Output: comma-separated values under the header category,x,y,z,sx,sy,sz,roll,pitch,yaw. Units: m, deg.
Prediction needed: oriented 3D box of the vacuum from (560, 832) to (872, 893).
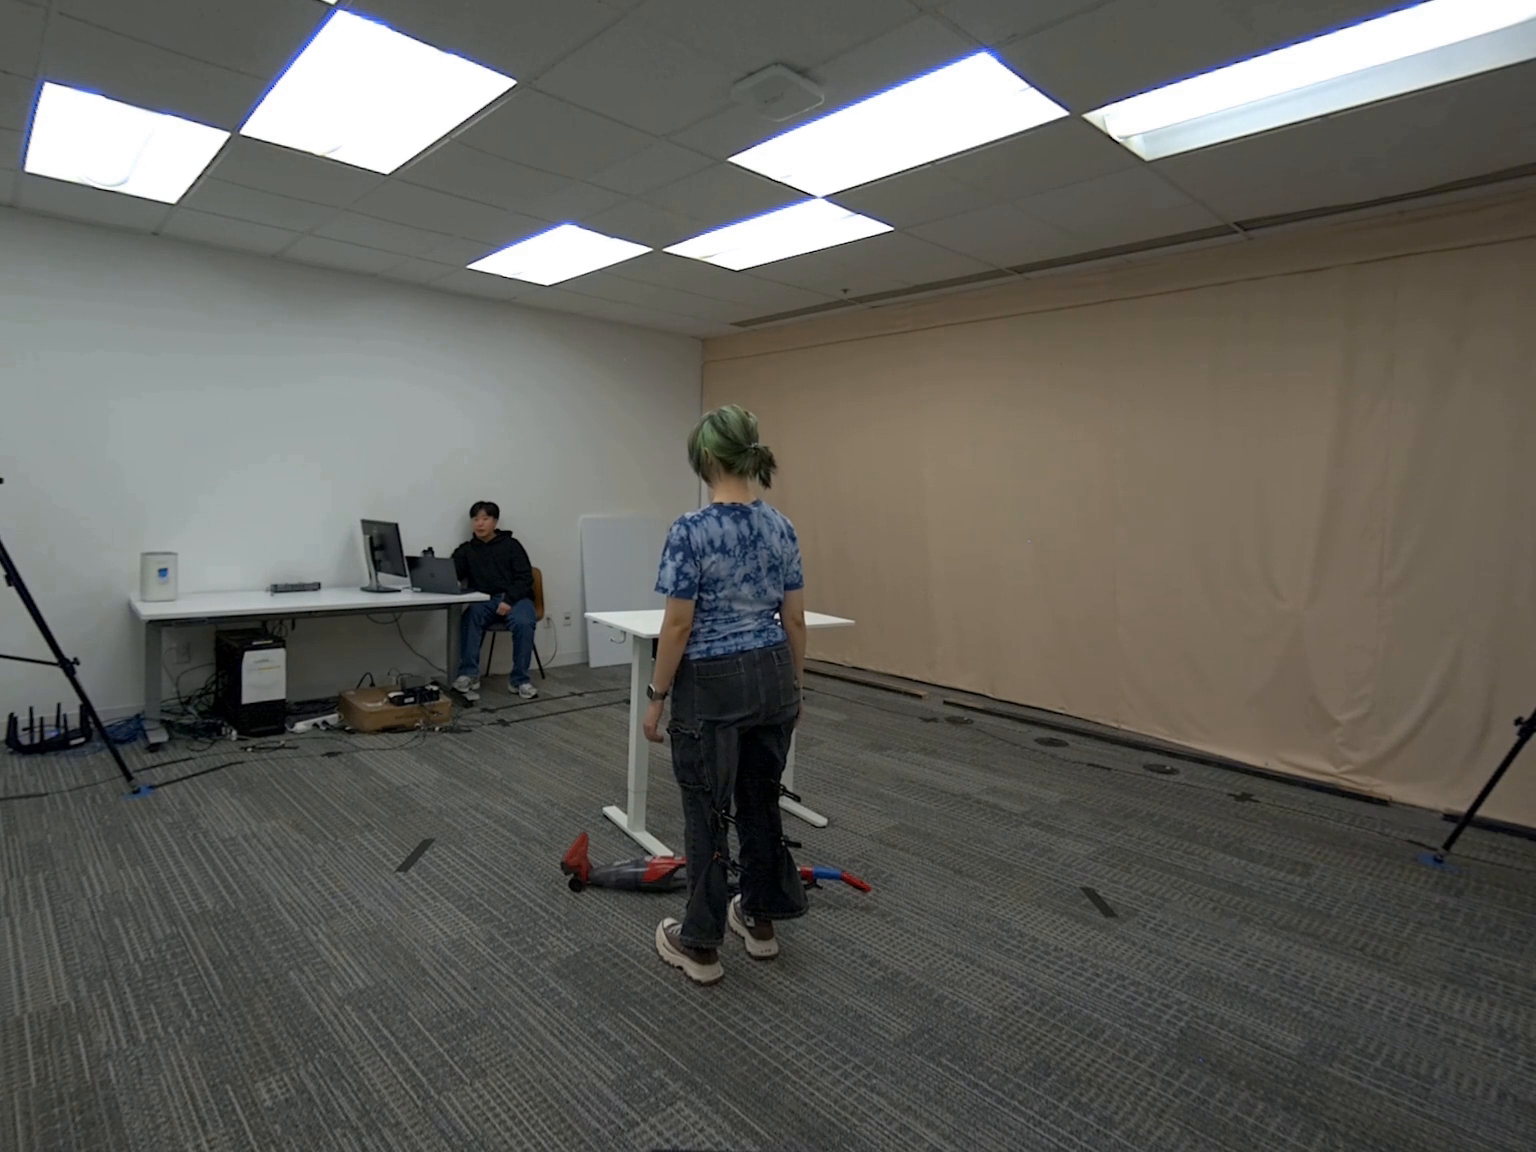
category,x,y,z,sx,sy,sz,roll,pitch,yaw
vacuum,-0.180,1.056,2.946,1.054,0.143,0.252,3,5,6
